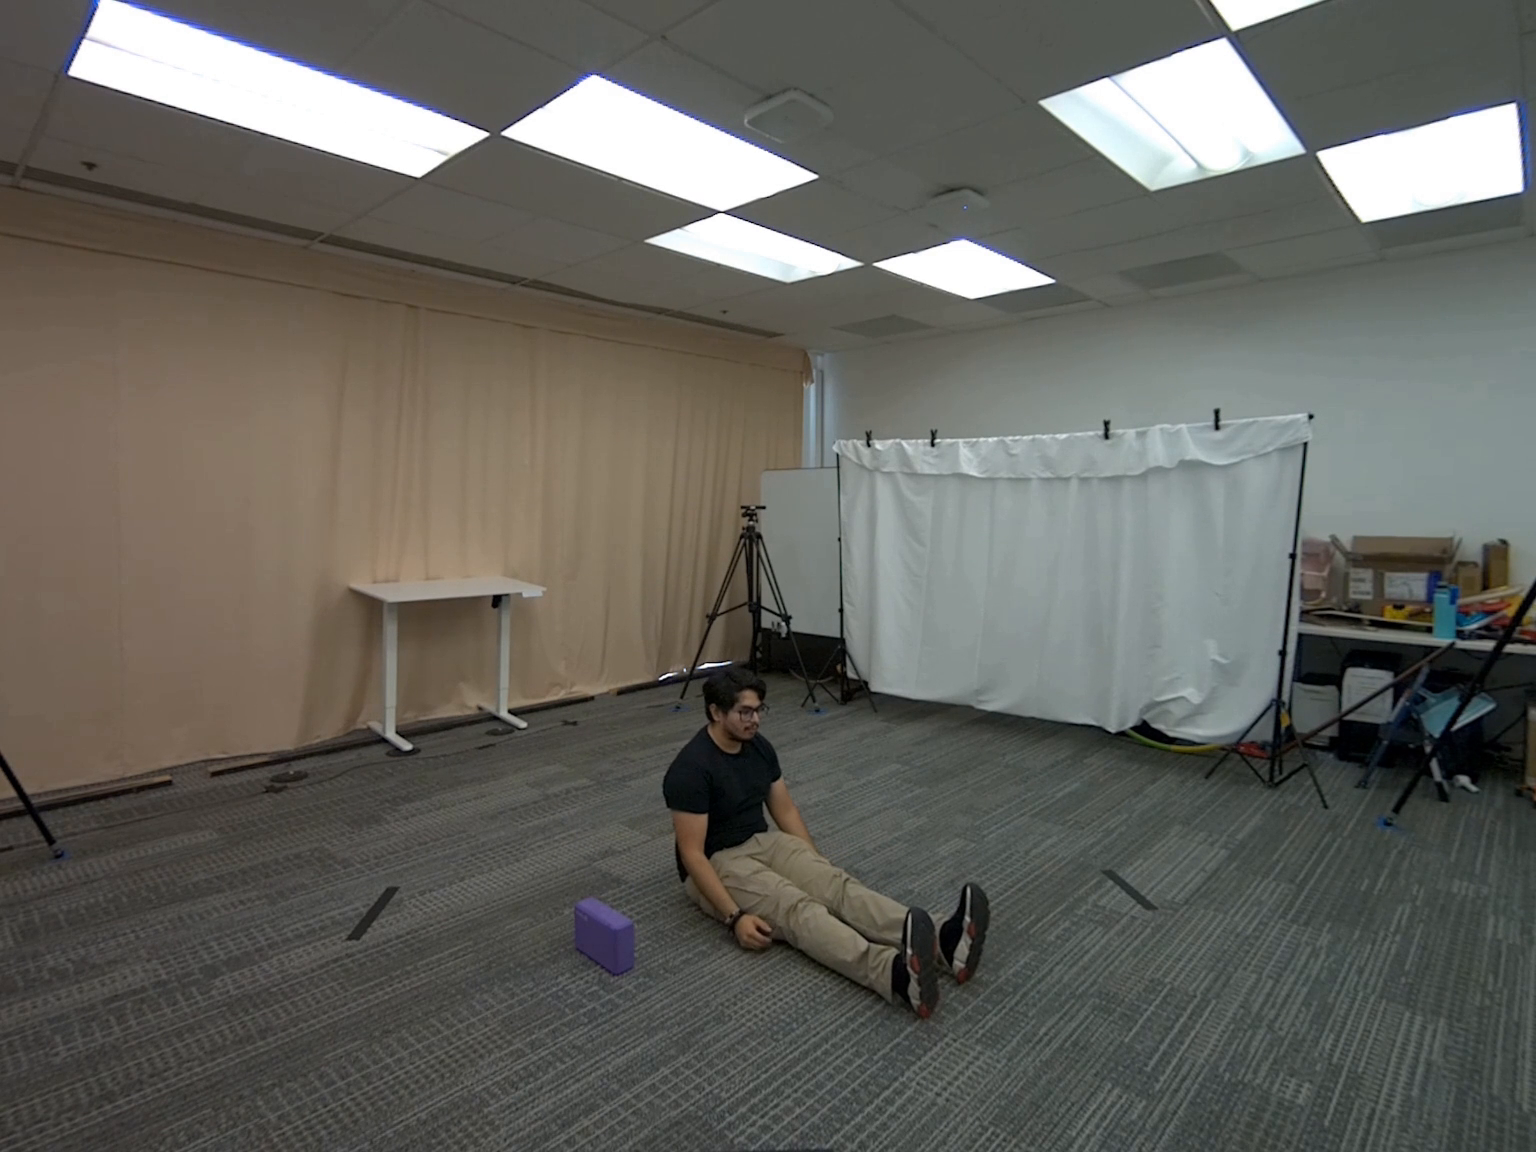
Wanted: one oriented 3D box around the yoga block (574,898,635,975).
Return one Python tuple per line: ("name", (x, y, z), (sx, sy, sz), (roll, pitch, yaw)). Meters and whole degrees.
("yoga block", (-0.506, 1.104, 2.590), (0.074, 0.149, 0.237), (-2, 5, -43))
